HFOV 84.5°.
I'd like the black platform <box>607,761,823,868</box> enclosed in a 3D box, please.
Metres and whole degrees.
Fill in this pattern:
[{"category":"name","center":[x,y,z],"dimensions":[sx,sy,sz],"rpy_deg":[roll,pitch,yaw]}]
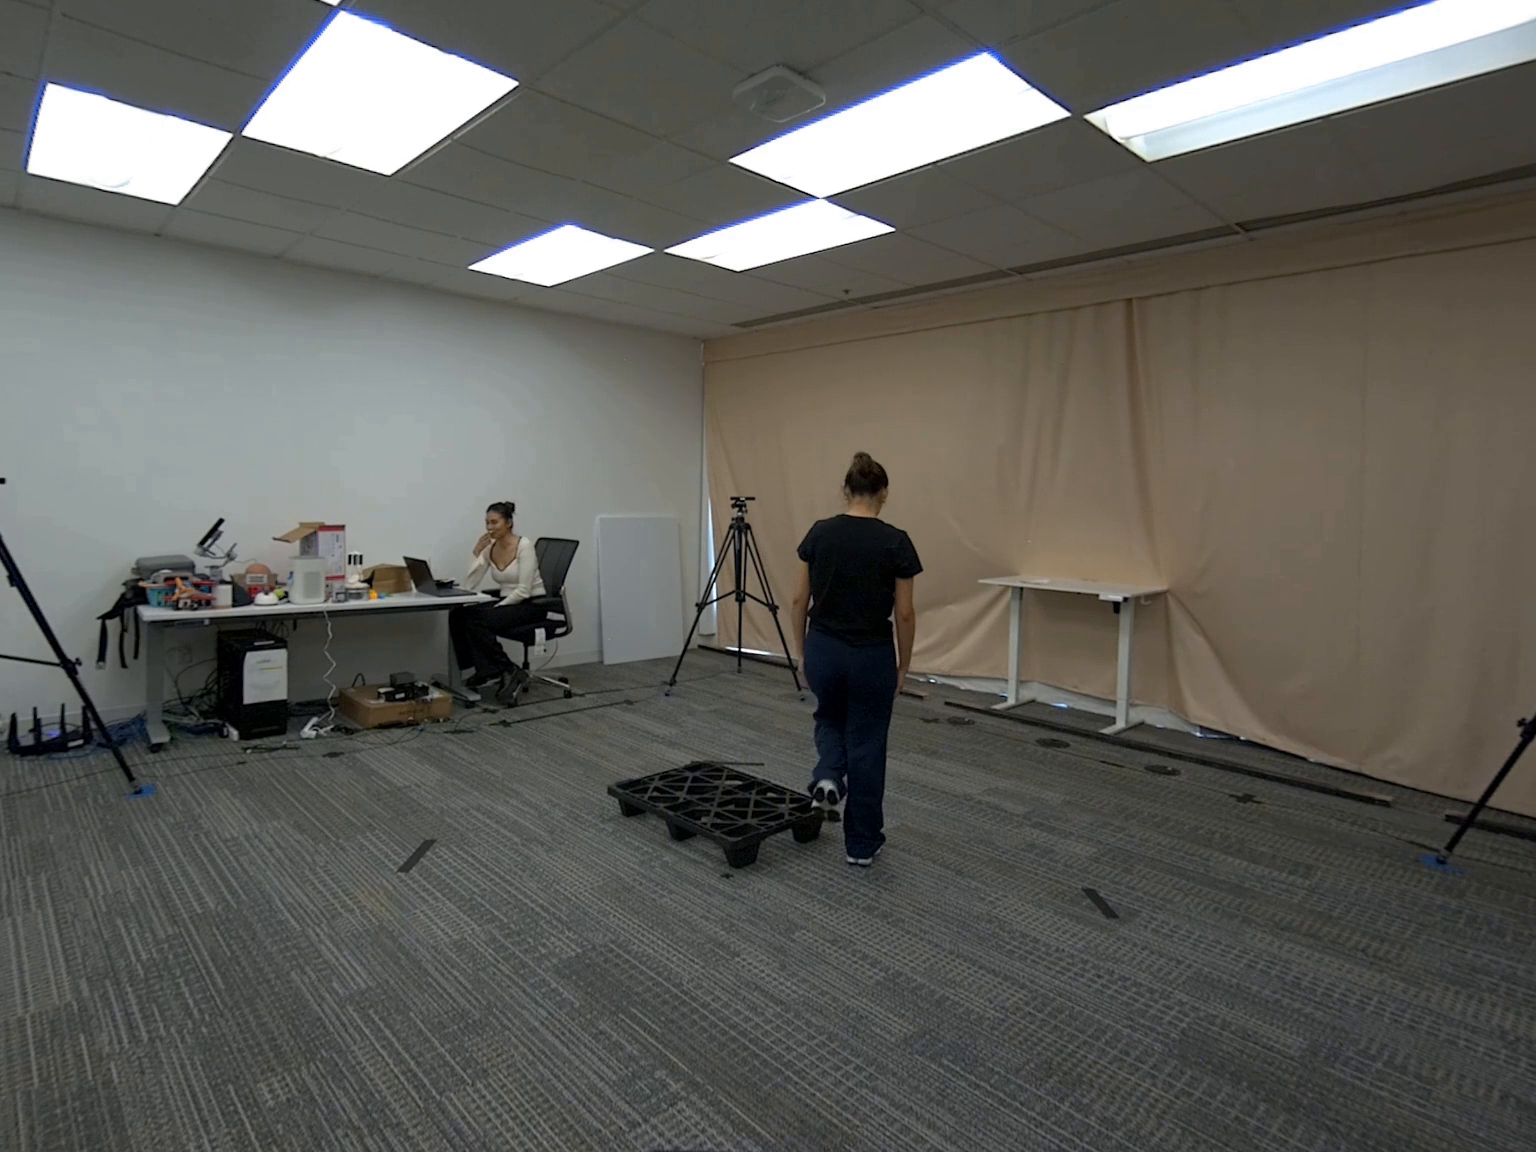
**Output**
[{"category":"black platform","center":[-0.221,1.000,3.563],"dimensions":[0.591,0.143,0.826],"rpy_deg":[-5,7,-45]}]
